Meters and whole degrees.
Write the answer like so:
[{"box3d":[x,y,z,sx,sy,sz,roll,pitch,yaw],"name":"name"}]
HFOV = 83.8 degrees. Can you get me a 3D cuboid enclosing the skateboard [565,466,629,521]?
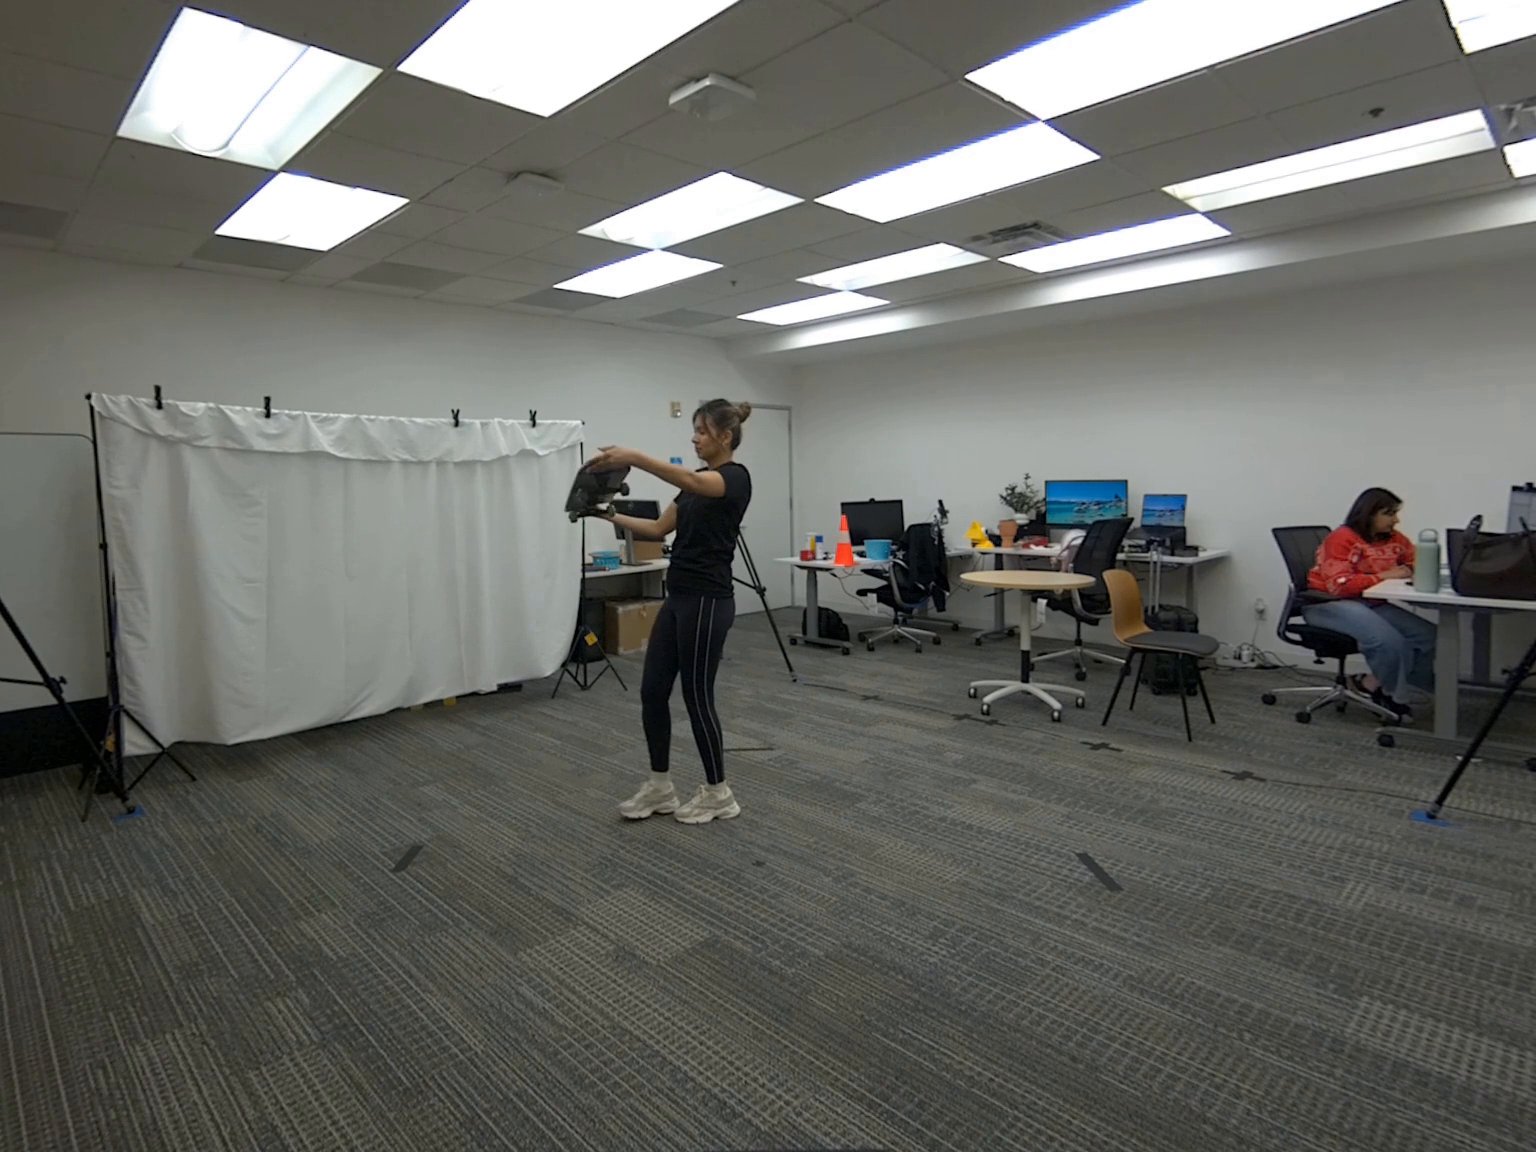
[{"box3d":[-0.651,-0.303,3.264,0.190,0.111,0.790,-10,-6,-20],"name":"skateboard"}]
